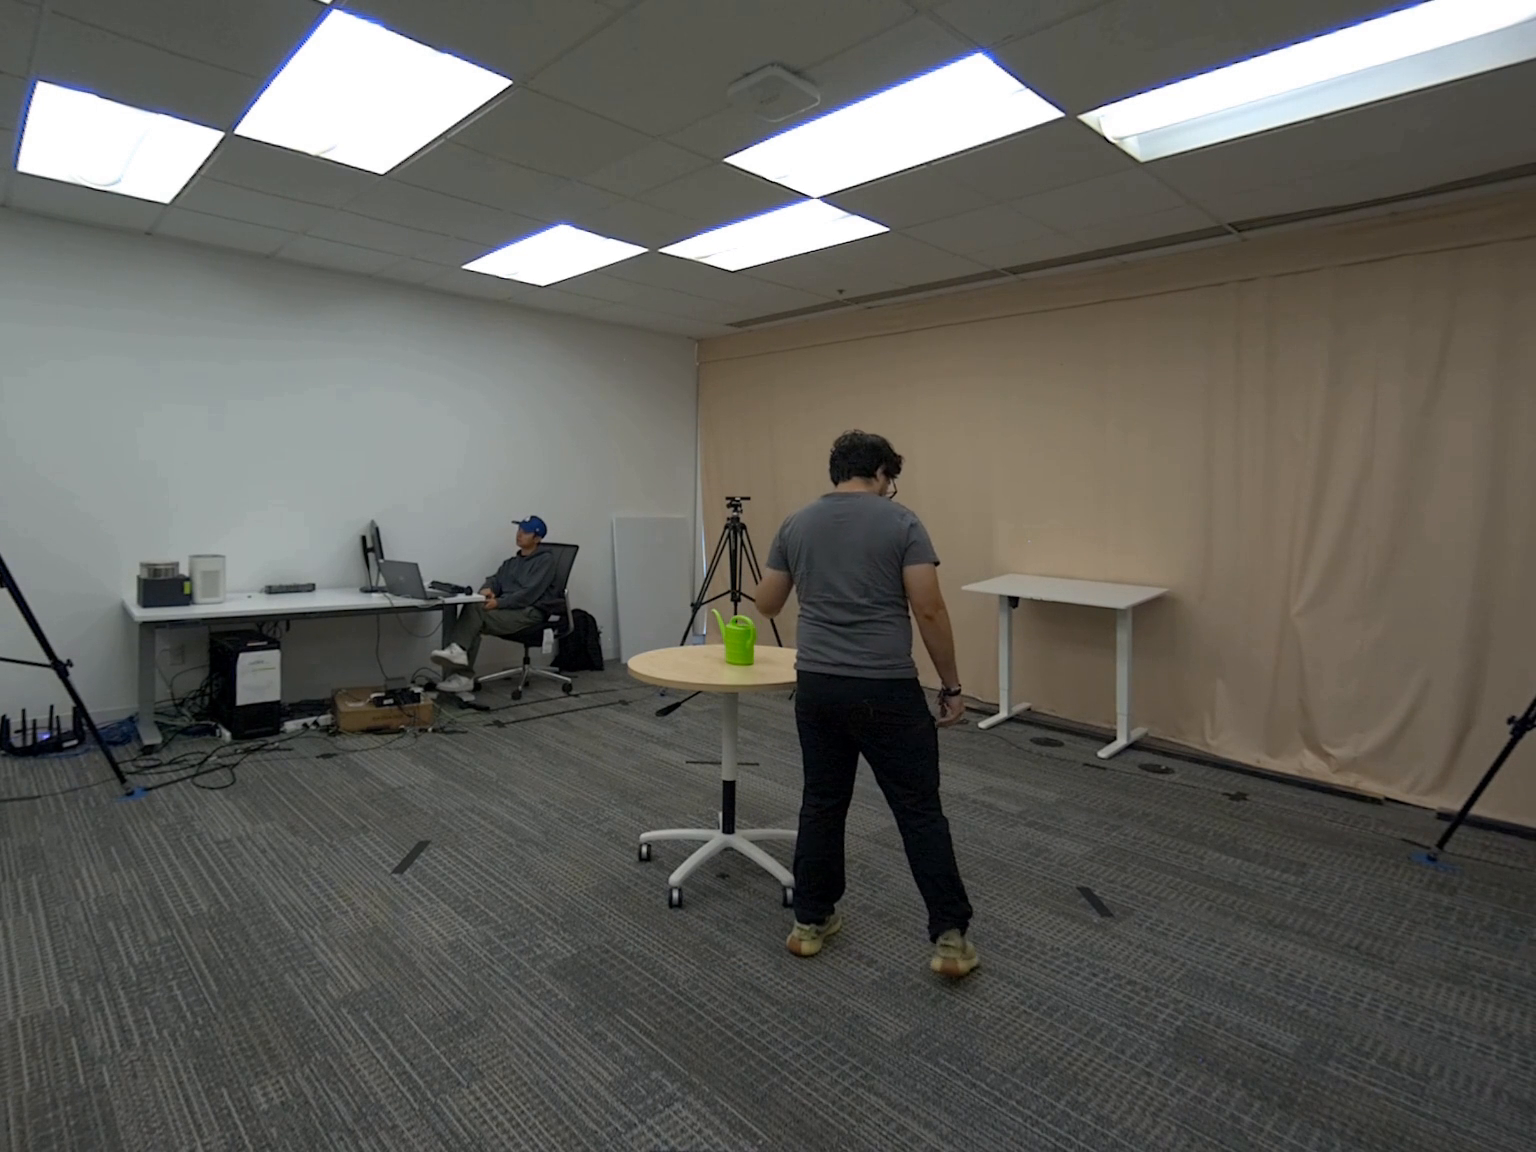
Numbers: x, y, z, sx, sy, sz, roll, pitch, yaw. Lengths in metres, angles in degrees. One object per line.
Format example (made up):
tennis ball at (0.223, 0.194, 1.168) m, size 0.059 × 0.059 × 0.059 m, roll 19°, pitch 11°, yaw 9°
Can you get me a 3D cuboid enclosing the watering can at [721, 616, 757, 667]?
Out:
watering can at (-0.131, 0.230, 3.159) m, size 0.096 × 0.176 × 0.283 m, roll 0°, pitch 6°, yaw -21°
